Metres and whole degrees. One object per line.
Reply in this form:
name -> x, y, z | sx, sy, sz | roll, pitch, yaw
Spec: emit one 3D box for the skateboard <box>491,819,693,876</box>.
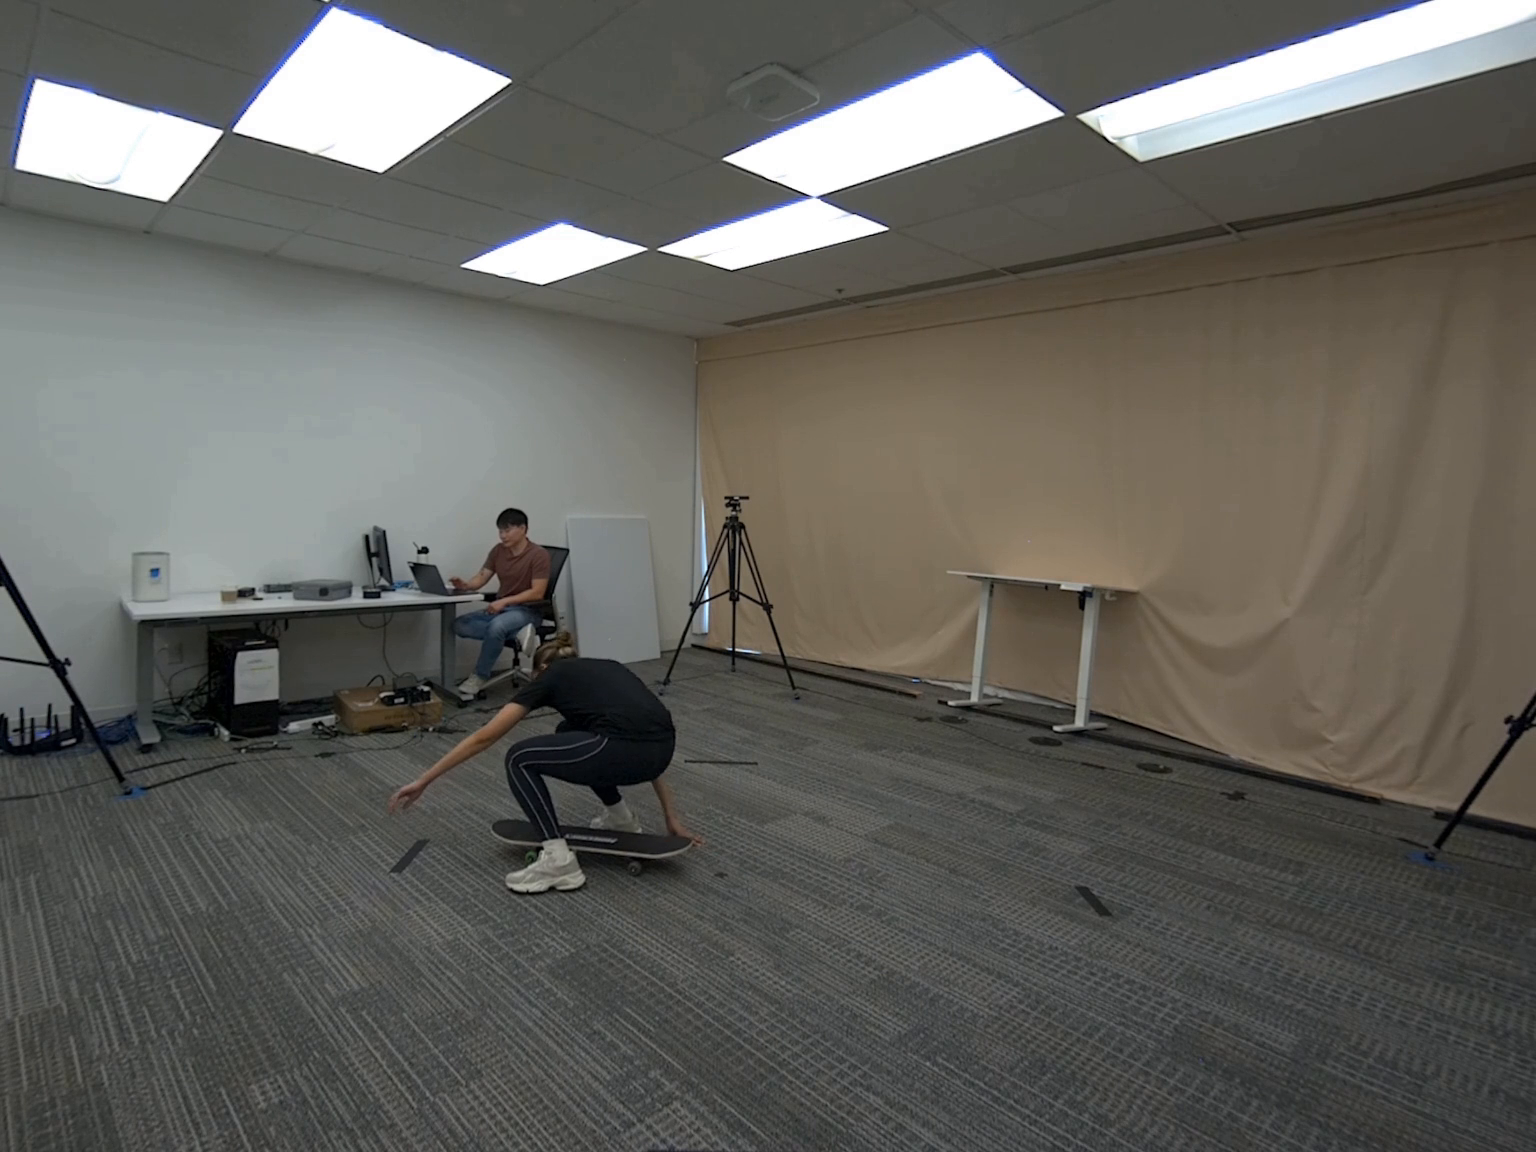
skateboard -> -0.678, 1.024, 3.195 | 0.792, 0.110, 0.192 | 3, 4, 9
